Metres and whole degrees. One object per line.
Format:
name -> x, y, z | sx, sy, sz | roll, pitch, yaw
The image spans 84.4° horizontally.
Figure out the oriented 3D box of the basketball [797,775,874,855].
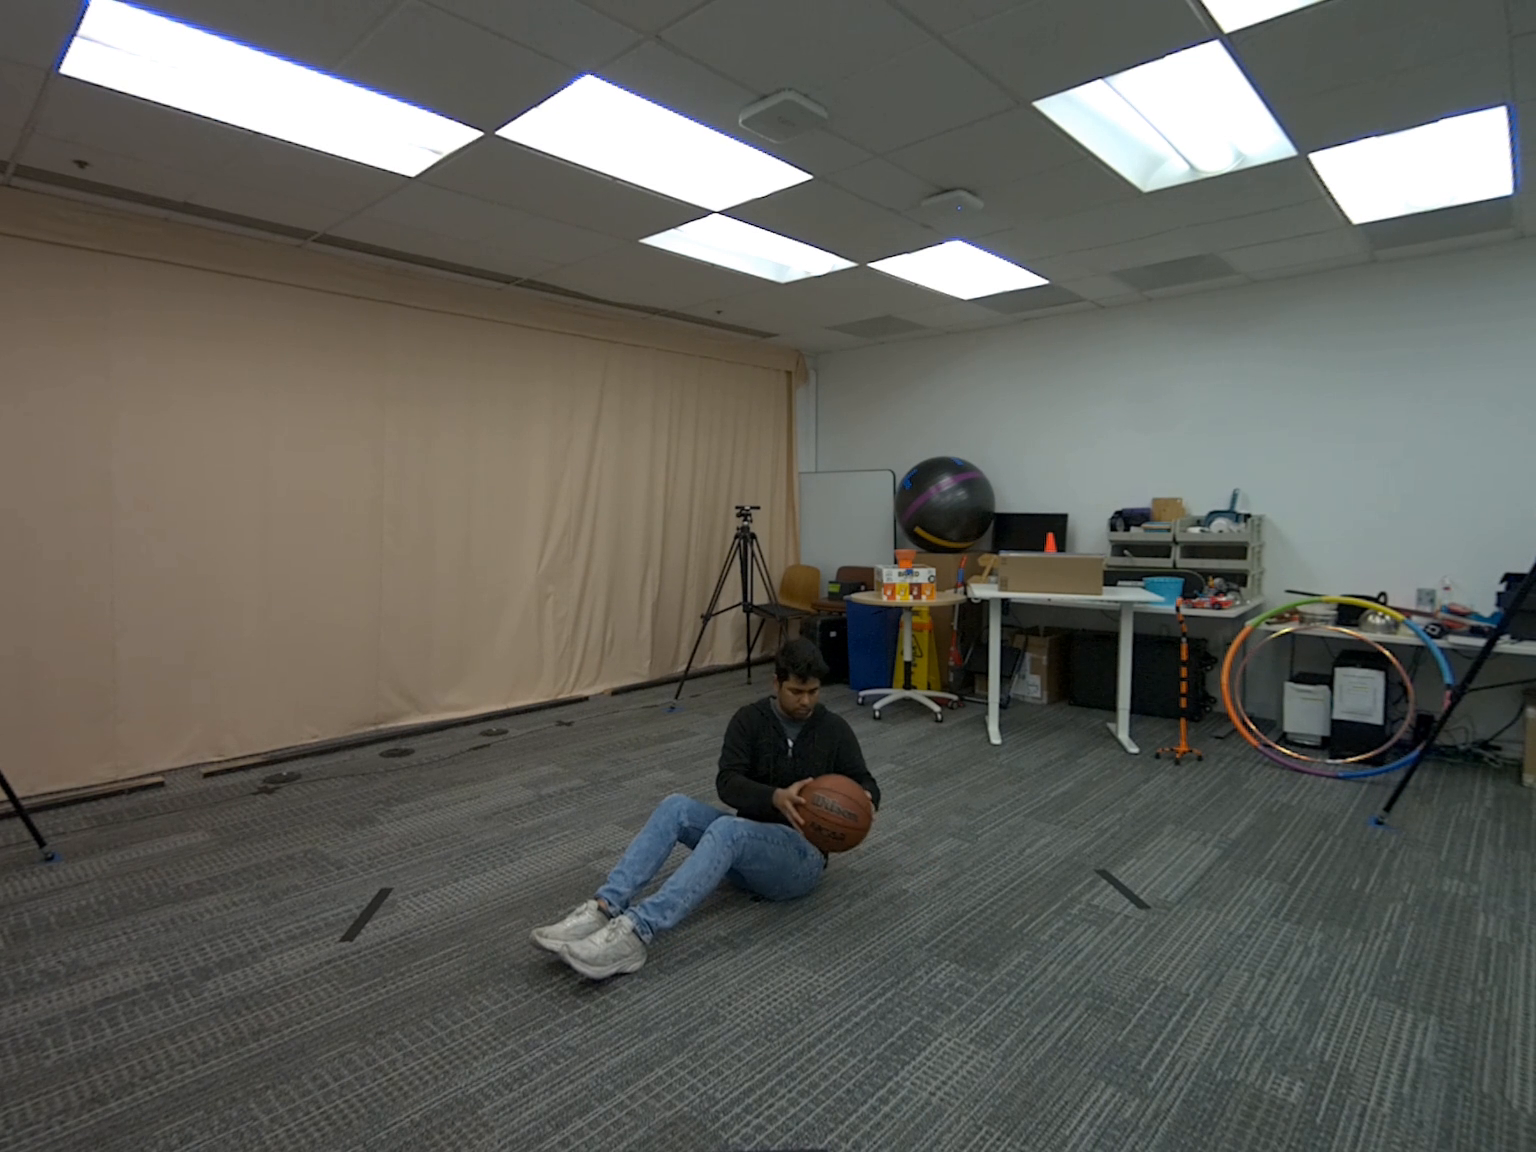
basketball -> 0.197, 0.754, 2.695 | 0.236, 0.235, 0.237 | 0, 4, -2
